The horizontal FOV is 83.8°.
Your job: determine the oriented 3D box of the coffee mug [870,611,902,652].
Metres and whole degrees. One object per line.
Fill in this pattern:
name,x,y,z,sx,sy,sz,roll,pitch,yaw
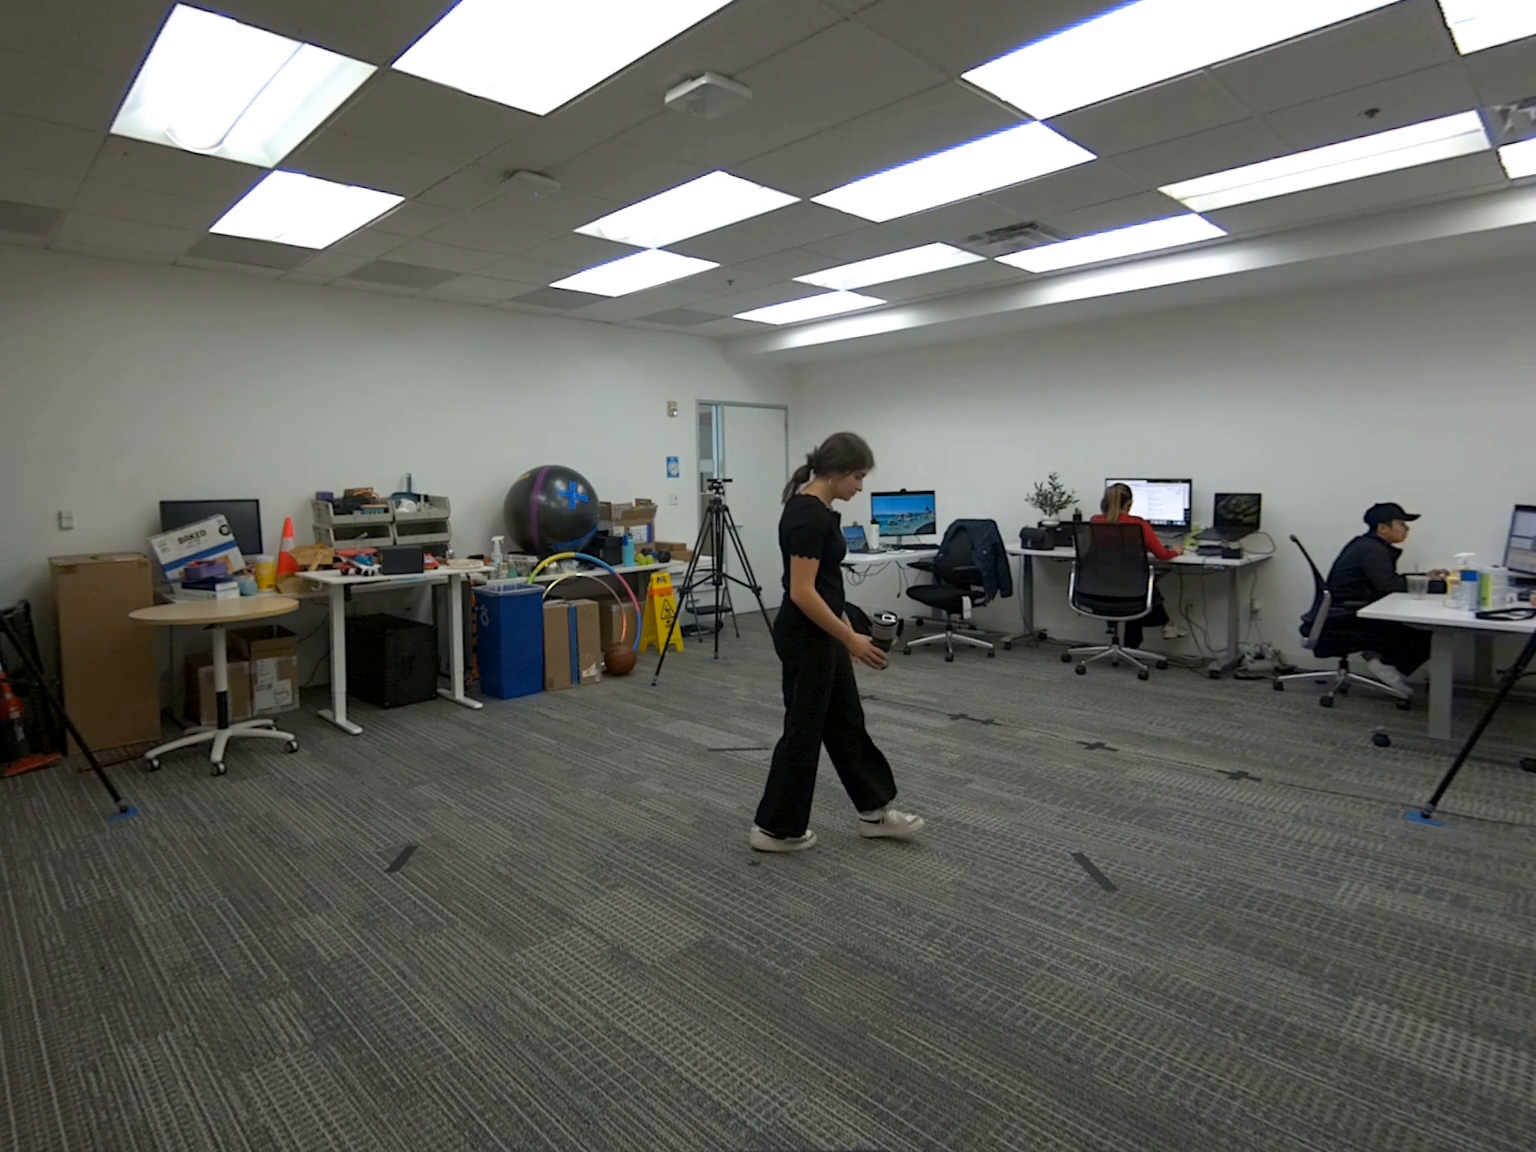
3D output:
coffee mug,0.420,0.221,3.000,0.120,0.198,0.091,-13,30,-22
